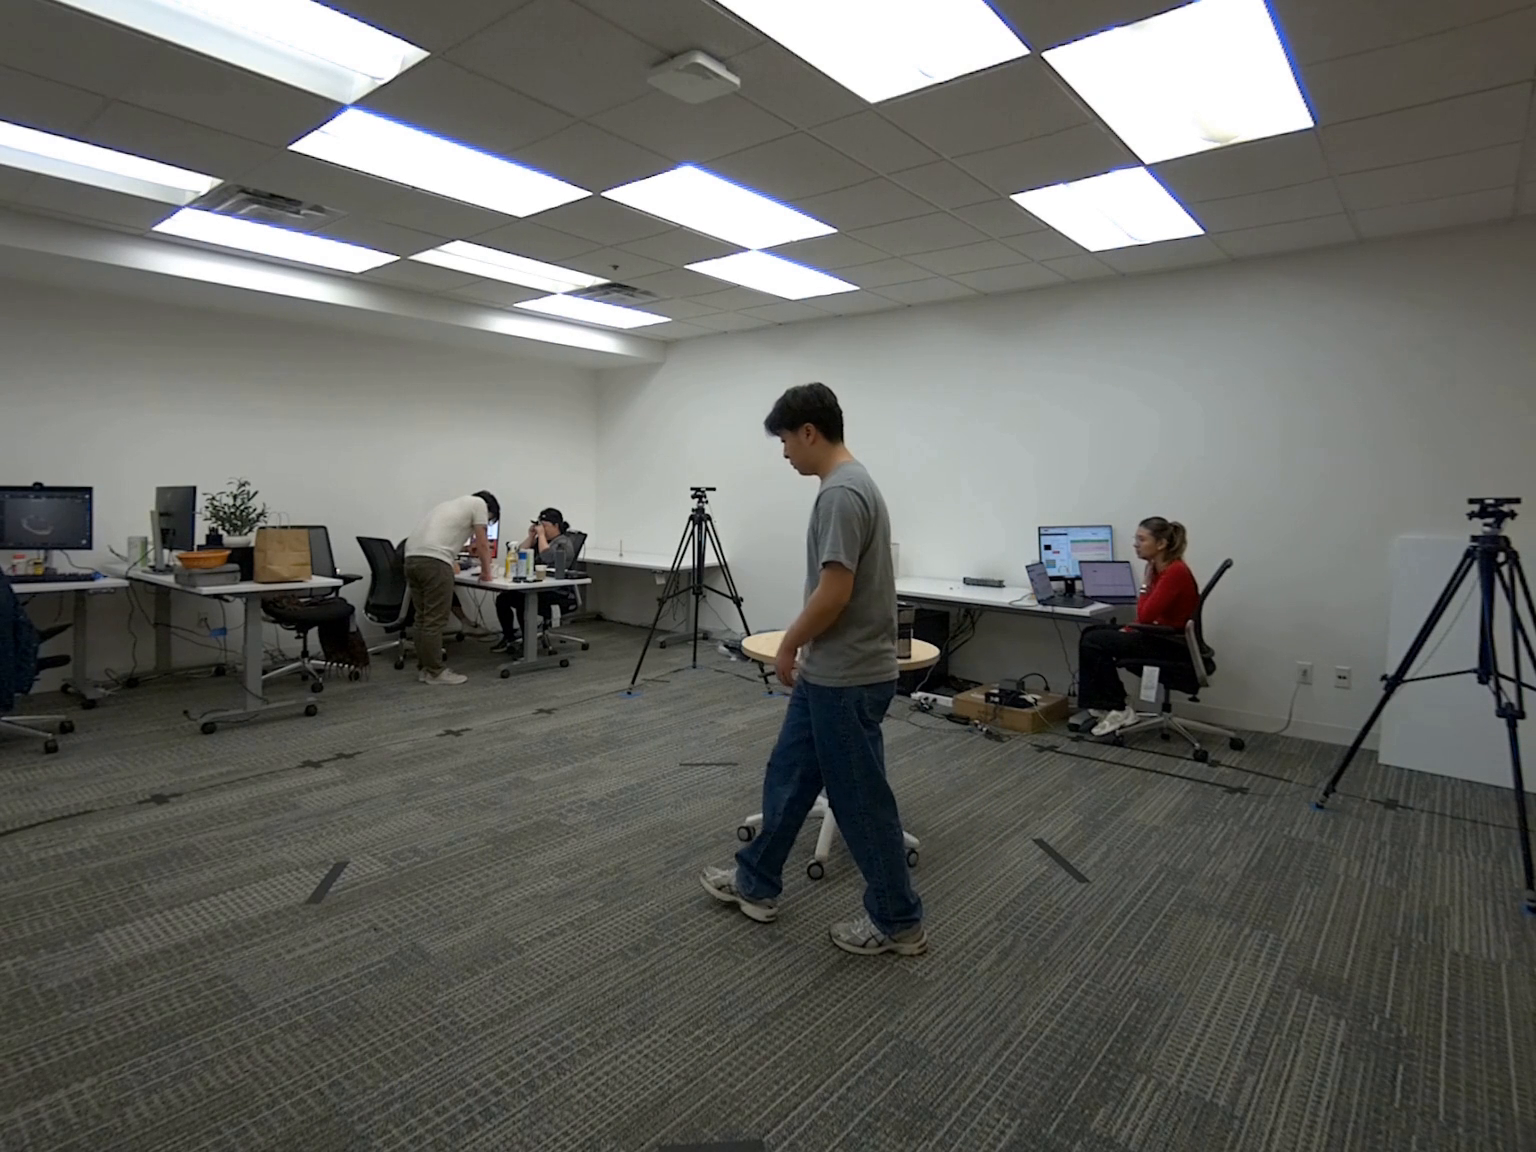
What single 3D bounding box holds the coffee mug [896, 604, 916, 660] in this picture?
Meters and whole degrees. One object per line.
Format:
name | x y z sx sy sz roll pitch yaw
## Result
coffee mug | 0.468 0.197 3.097 0.119 0.202 0.090 6 3 -26
